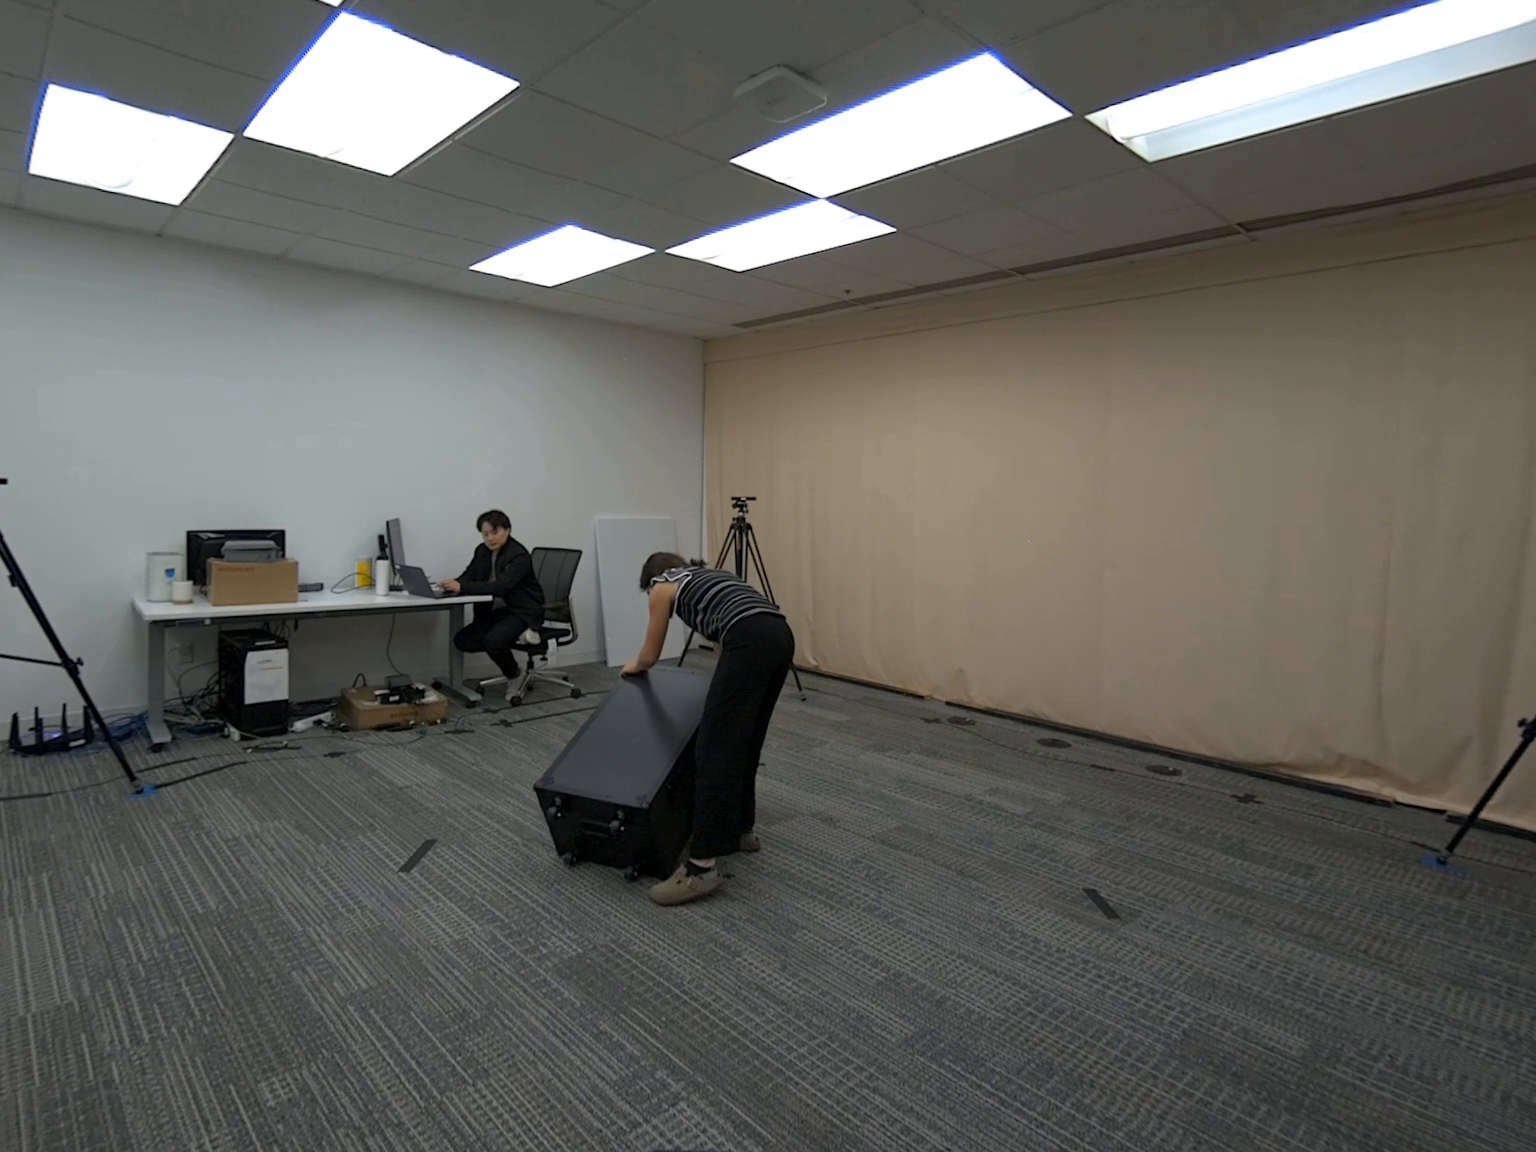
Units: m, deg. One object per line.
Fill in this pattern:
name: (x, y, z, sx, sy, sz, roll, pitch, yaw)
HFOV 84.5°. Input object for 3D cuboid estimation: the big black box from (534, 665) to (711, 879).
big black box: (-0.505, 0.767, 3.363, 0.530, 0.388, 0.865, 3, 31, 22)
